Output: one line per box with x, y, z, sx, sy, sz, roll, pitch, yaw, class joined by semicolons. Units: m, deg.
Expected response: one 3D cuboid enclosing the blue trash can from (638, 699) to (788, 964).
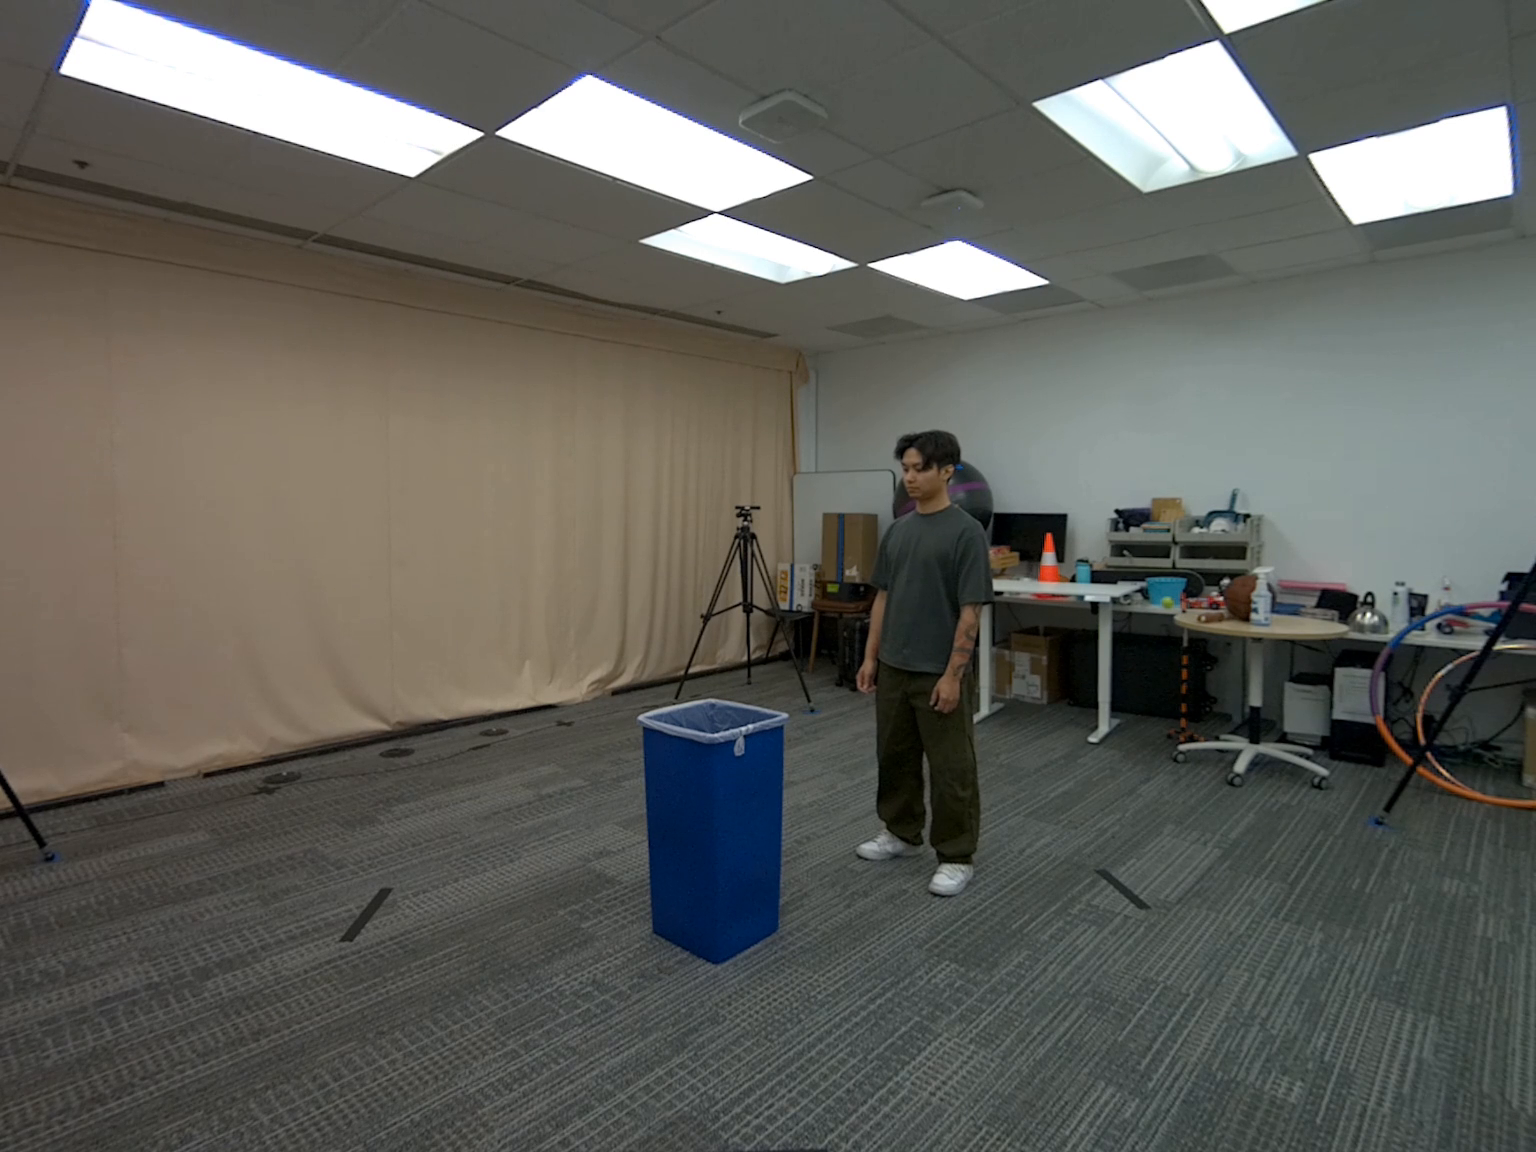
-0.179;0.808;2.743;0.386;0.712;0.366;3;4;41;blue trash can
